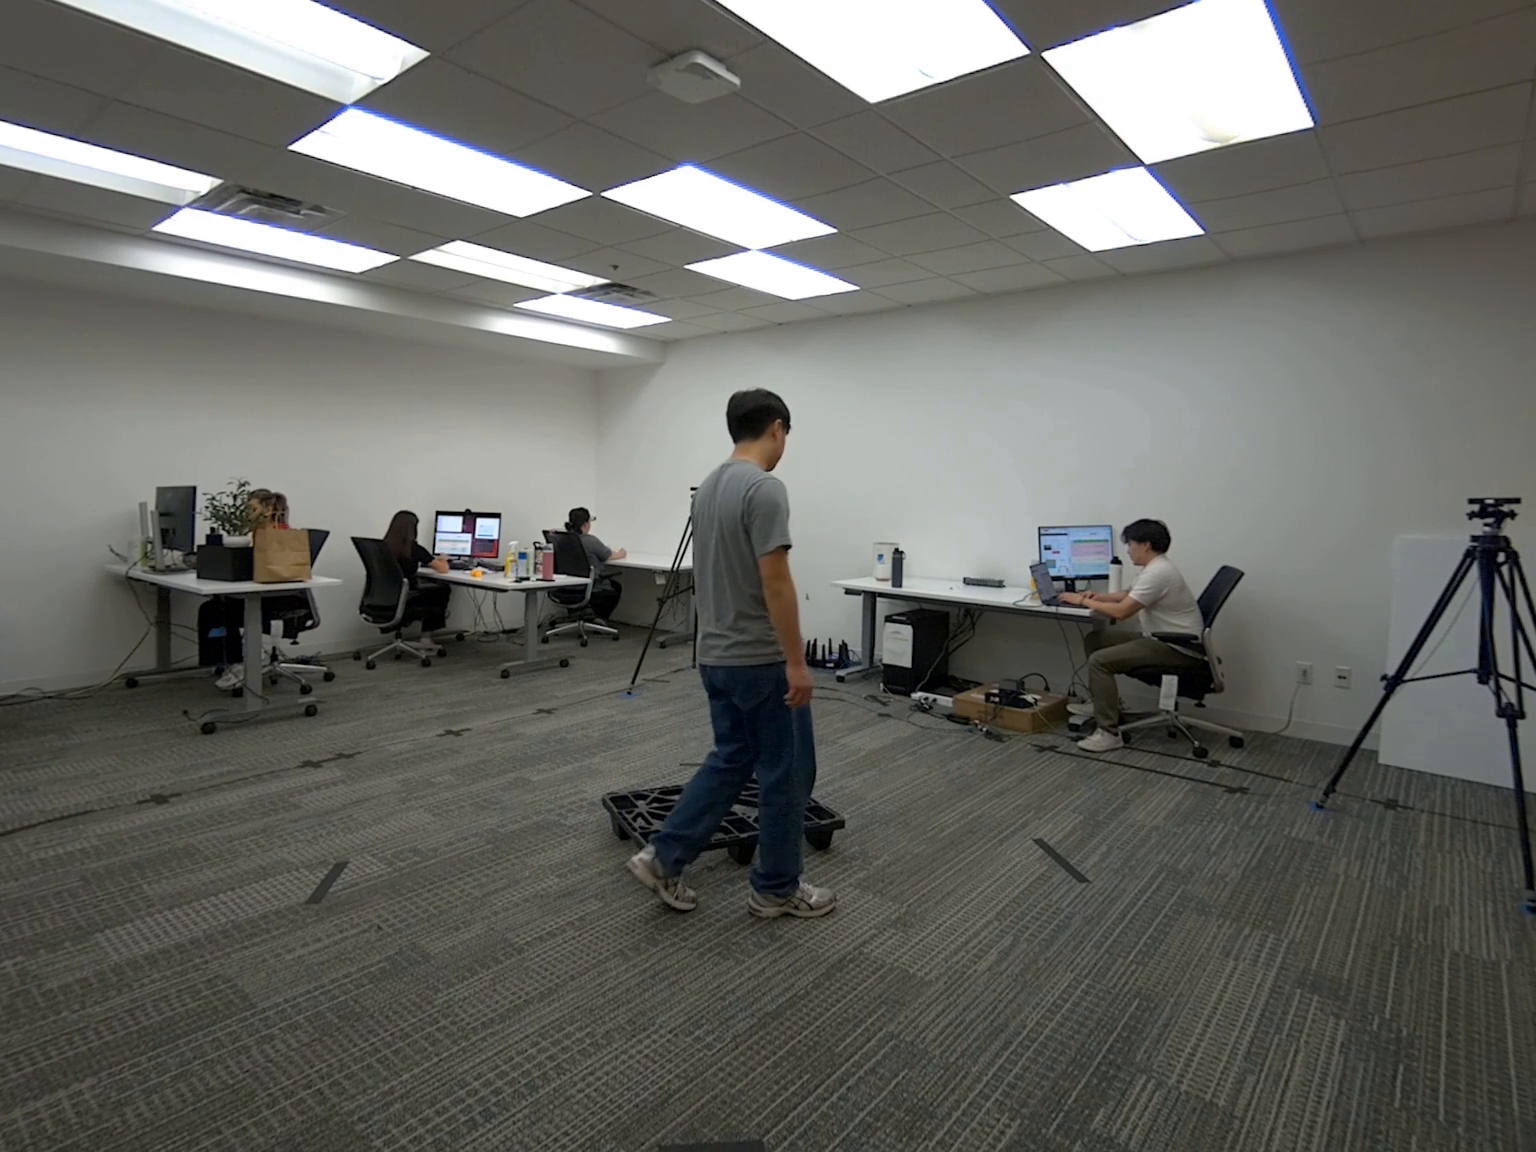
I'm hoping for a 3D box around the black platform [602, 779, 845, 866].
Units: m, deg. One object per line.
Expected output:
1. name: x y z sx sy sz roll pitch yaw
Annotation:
1. black platform: -0.194 0.973 3.360 0.786 0.143 0.622 -2 7 -25
